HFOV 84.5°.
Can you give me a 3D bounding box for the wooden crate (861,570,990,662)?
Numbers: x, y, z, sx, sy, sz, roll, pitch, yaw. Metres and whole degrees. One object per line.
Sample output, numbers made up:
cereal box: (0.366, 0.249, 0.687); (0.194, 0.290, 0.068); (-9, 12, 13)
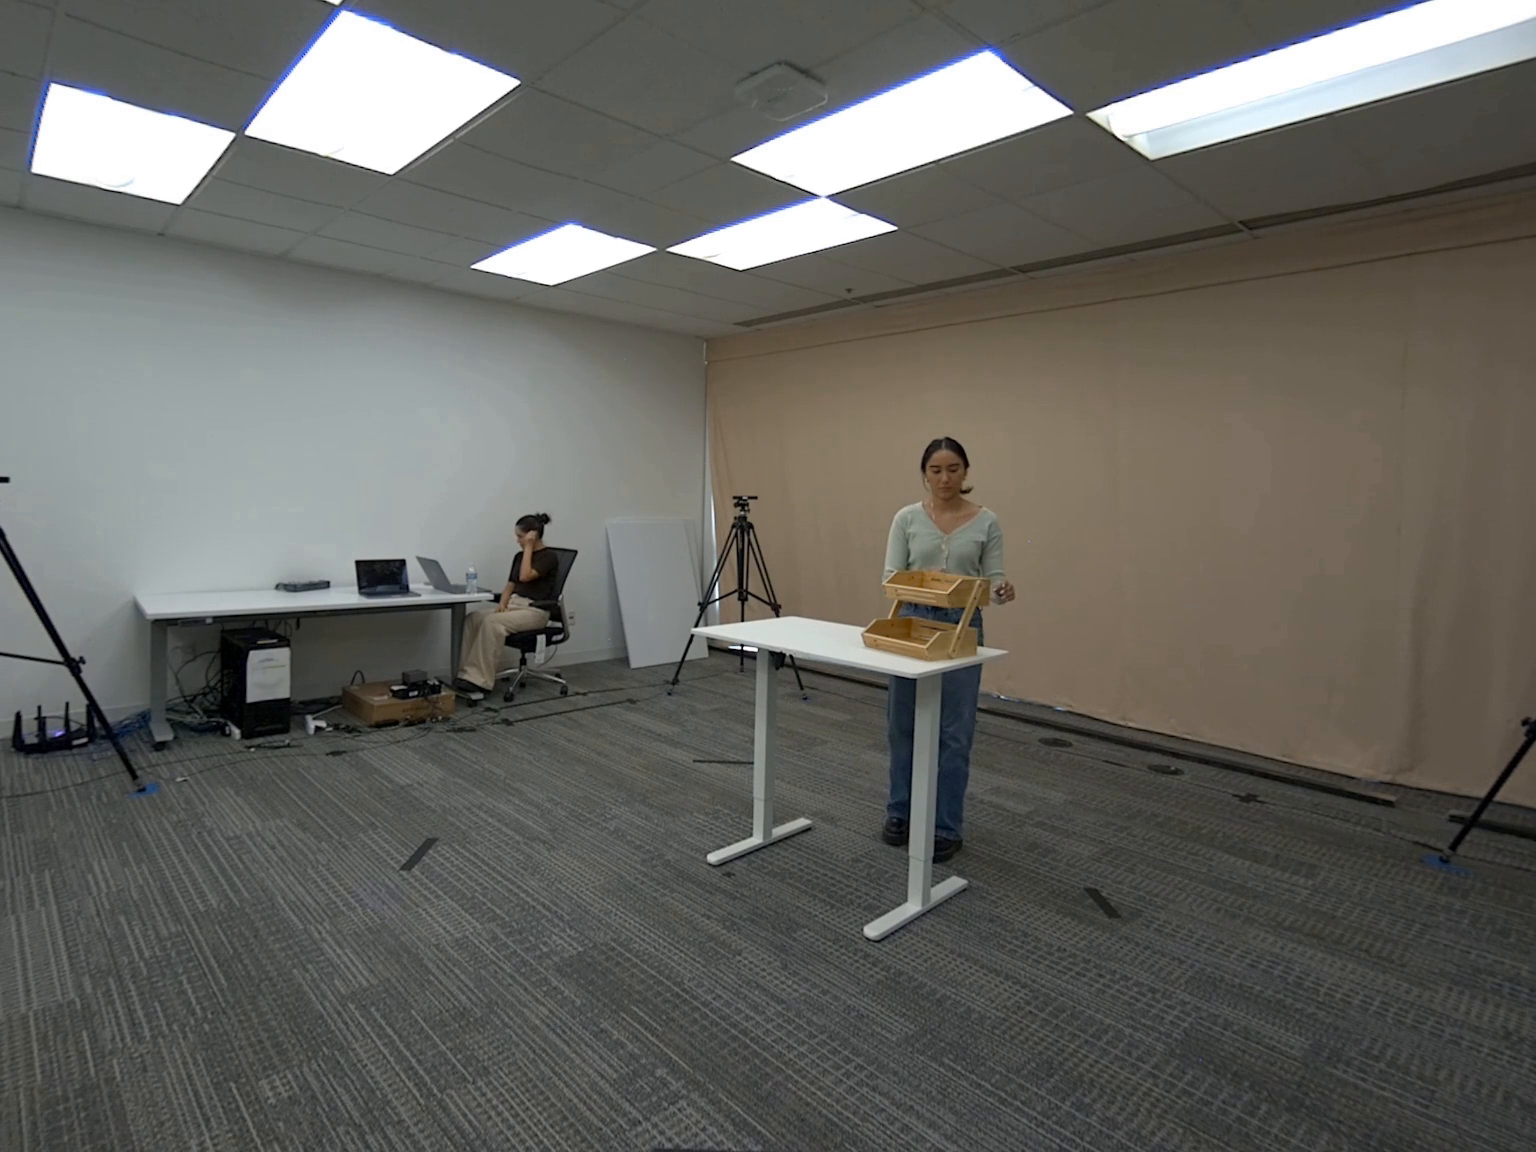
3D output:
wooden crate: (0.528, 0.128, 2.890); (0.295, 0.272, 0.333); (-1, 6, -35)
